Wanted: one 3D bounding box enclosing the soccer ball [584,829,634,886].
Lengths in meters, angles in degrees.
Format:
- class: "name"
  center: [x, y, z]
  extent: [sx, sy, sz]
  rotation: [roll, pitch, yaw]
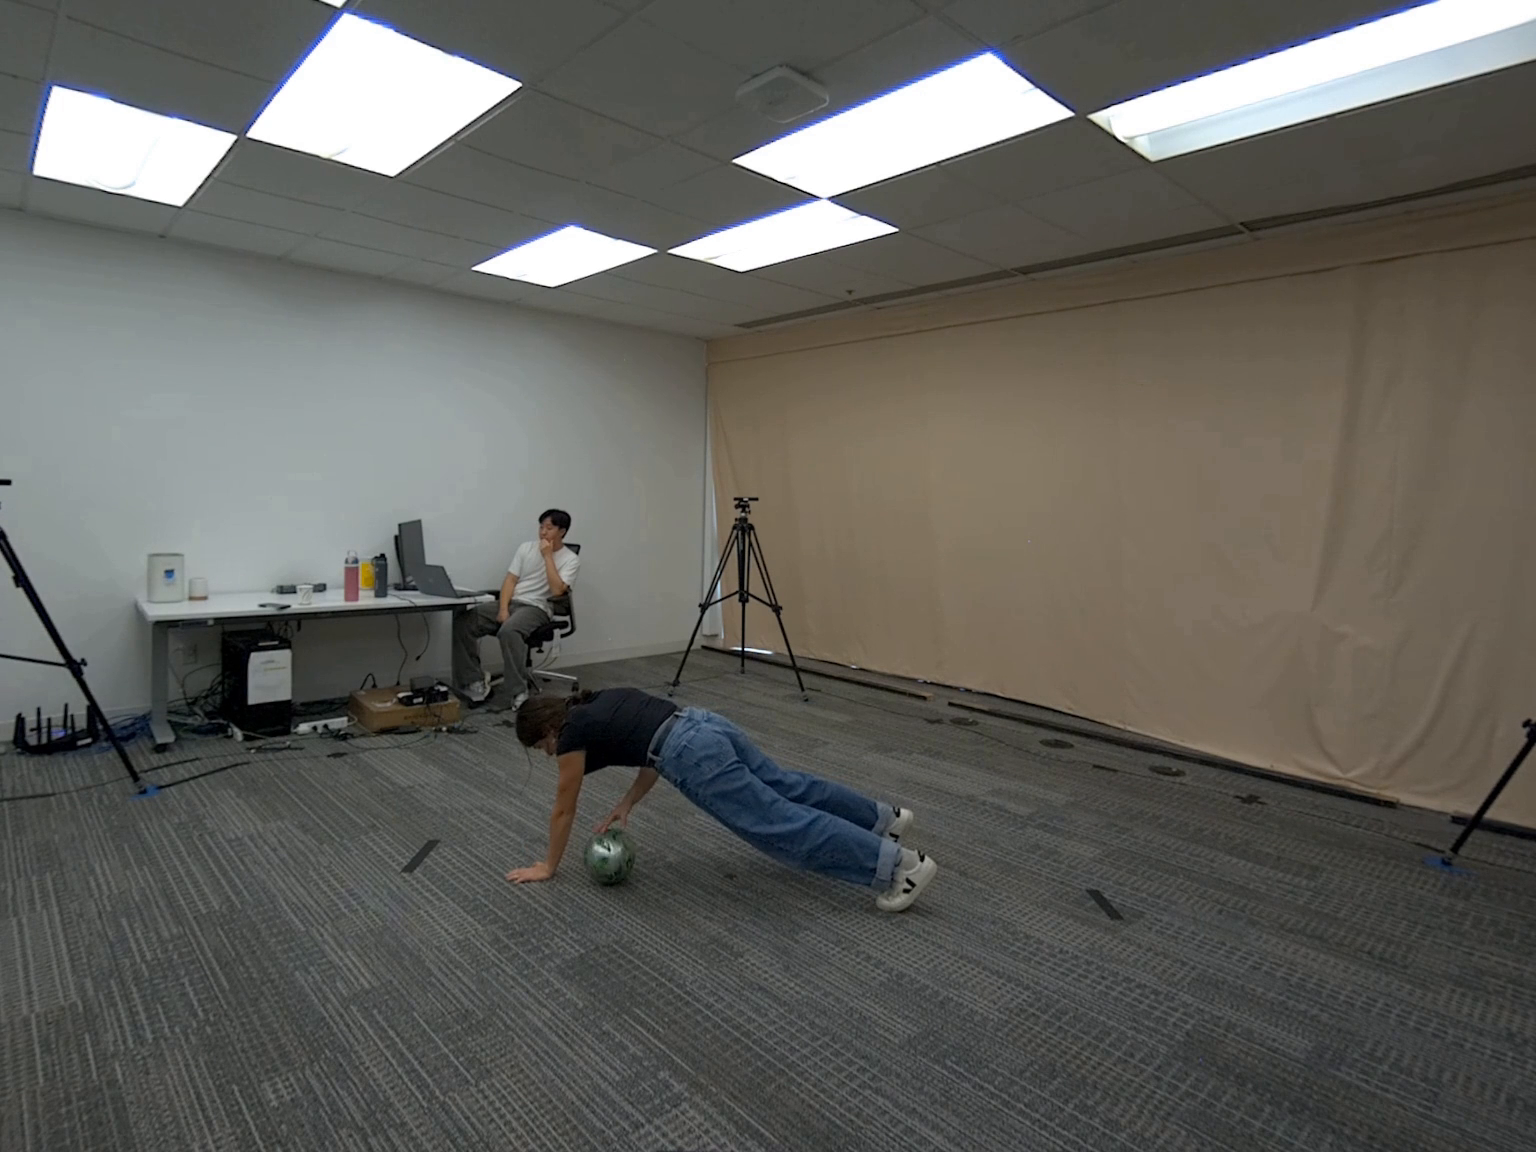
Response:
- class: "soccer ball"
  center: [-0.571, 1.006, 3.045]
  extent: [0.187, 0.187, 0.188]
  rotation: [1, 4, -1]
